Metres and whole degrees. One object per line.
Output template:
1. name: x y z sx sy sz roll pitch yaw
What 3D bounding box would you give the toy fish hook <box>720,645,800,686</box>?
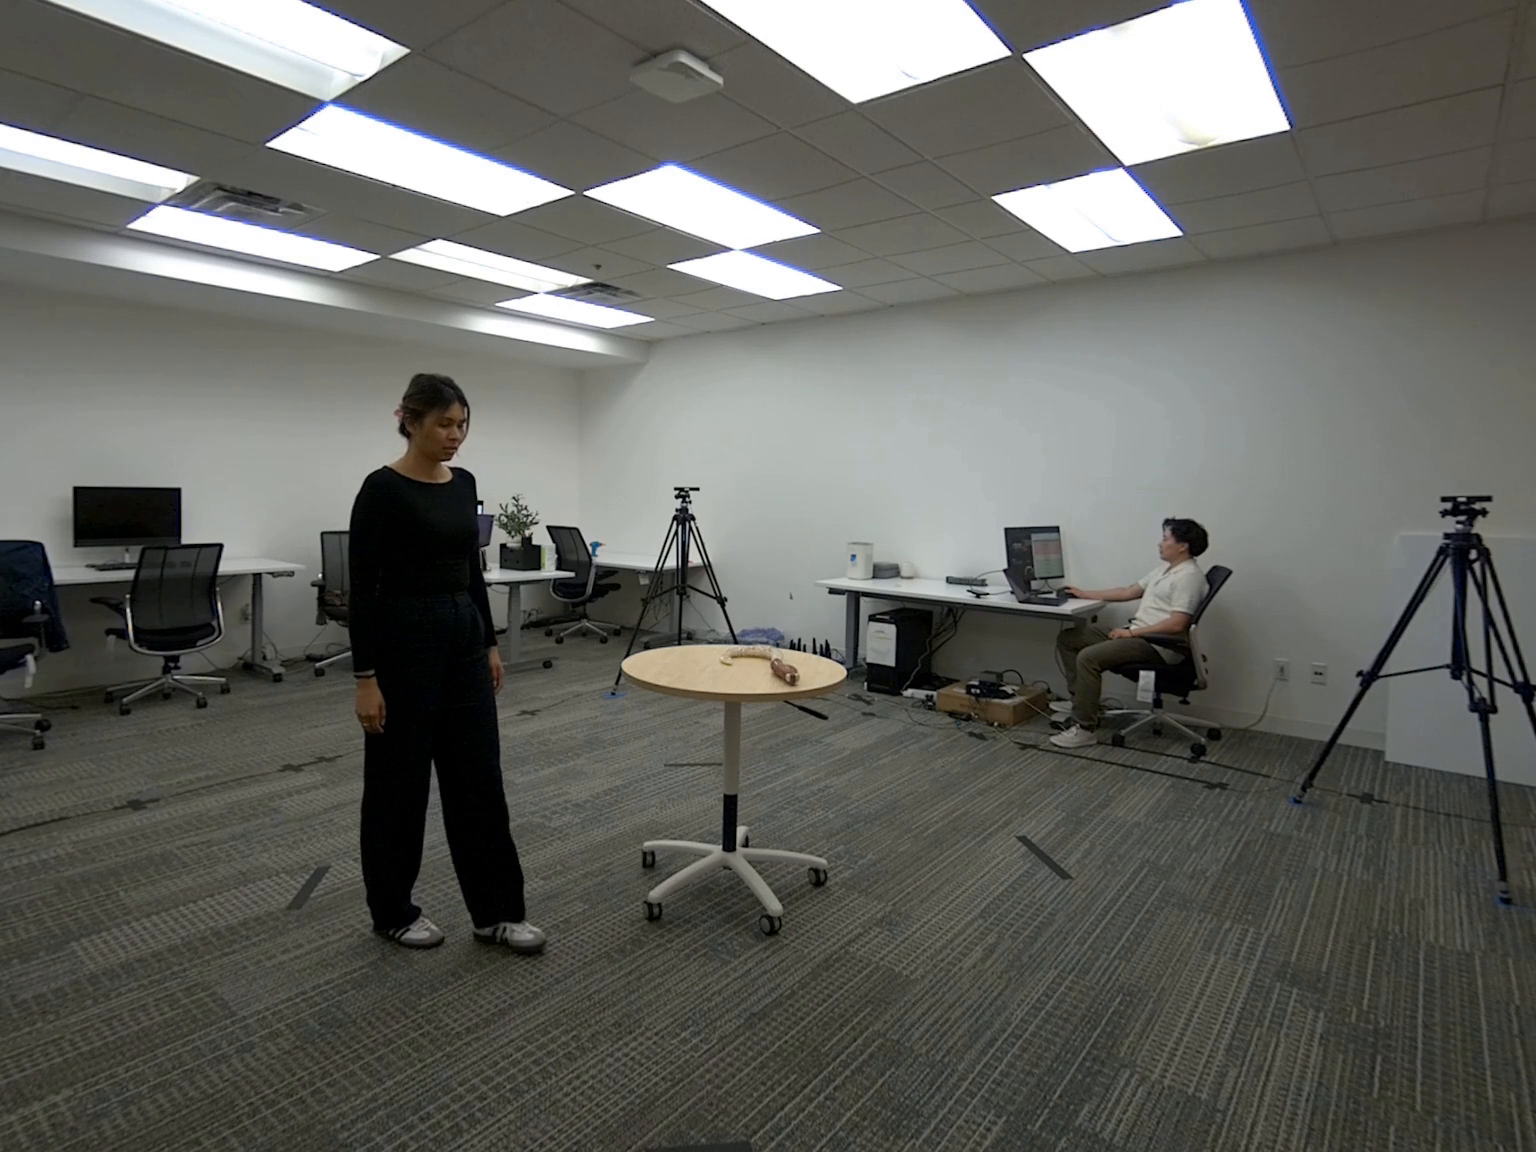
1. toy fish hook: -0.041 0.302 2.858 0.222 0.048 0.515 -9 7 -13
